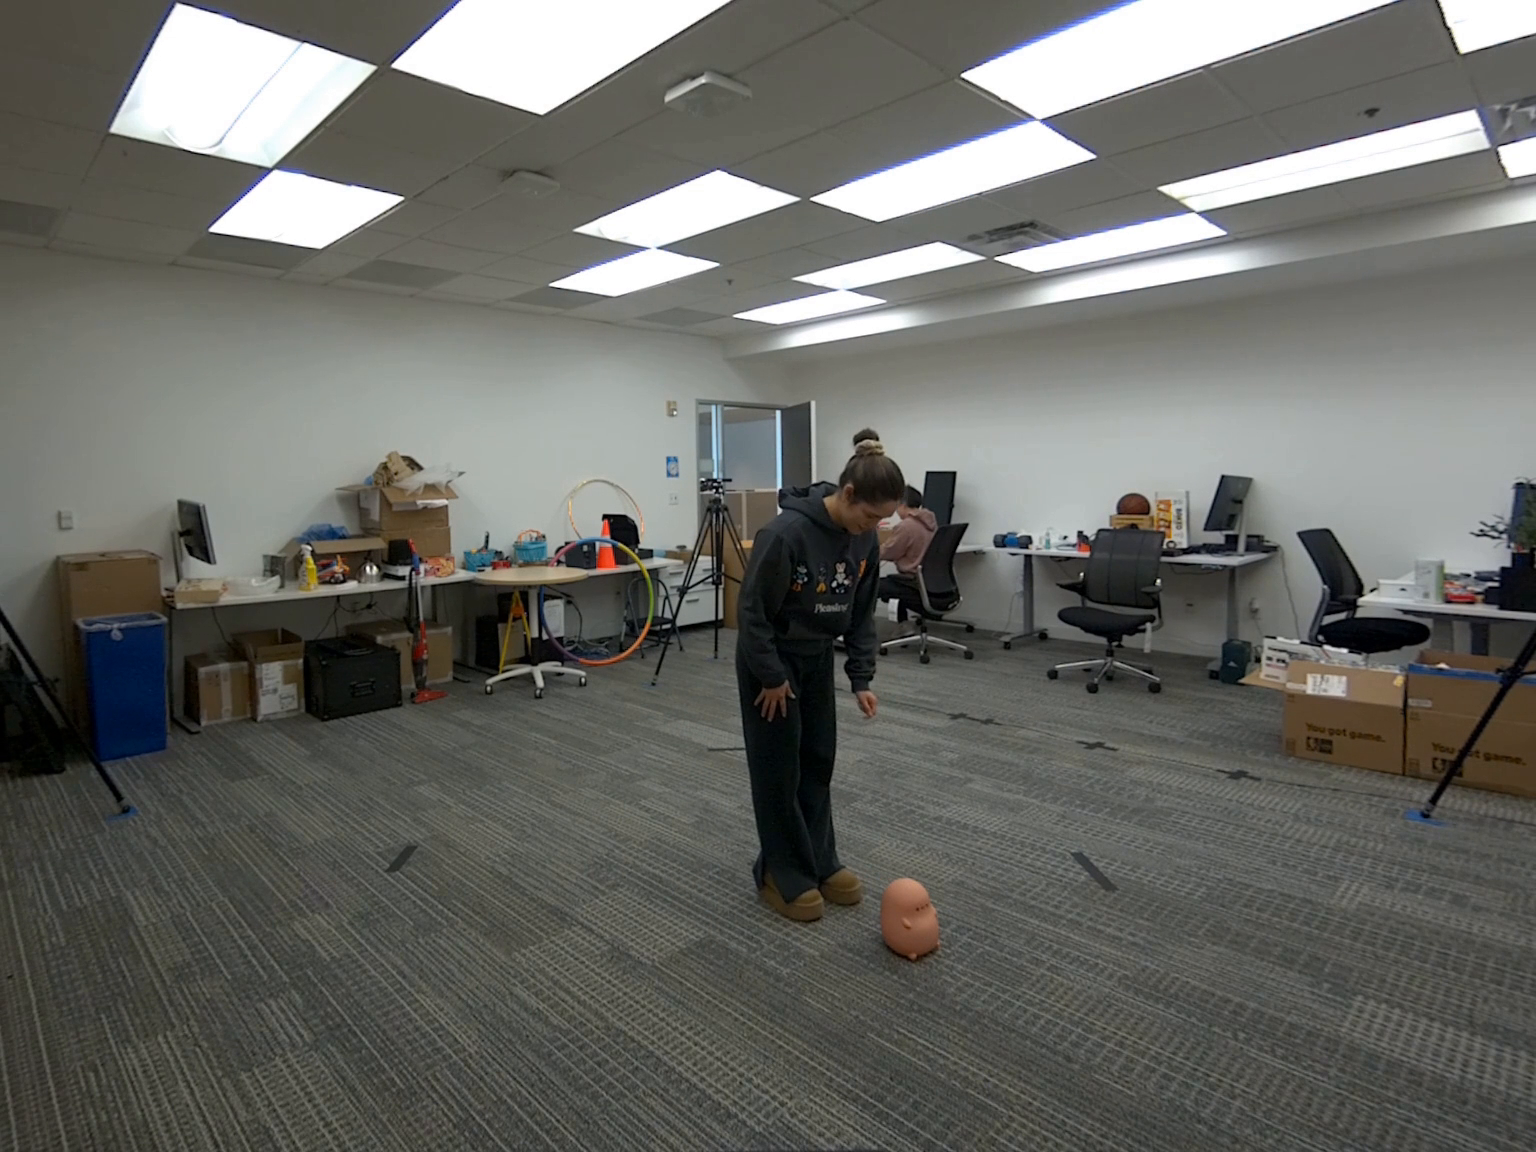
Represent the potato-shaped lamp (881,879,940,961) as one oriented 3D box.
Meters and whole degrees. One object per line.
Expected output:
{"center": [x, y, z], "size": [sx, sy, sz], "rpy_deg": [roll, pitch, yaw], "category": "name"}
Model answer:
{"center": [0.424, 1.007, 2.518], "size": [0.160, 0.197, 0.177], "rpy_deg": [-5, 7, -39], "category": "potato-shaped lamp"}
